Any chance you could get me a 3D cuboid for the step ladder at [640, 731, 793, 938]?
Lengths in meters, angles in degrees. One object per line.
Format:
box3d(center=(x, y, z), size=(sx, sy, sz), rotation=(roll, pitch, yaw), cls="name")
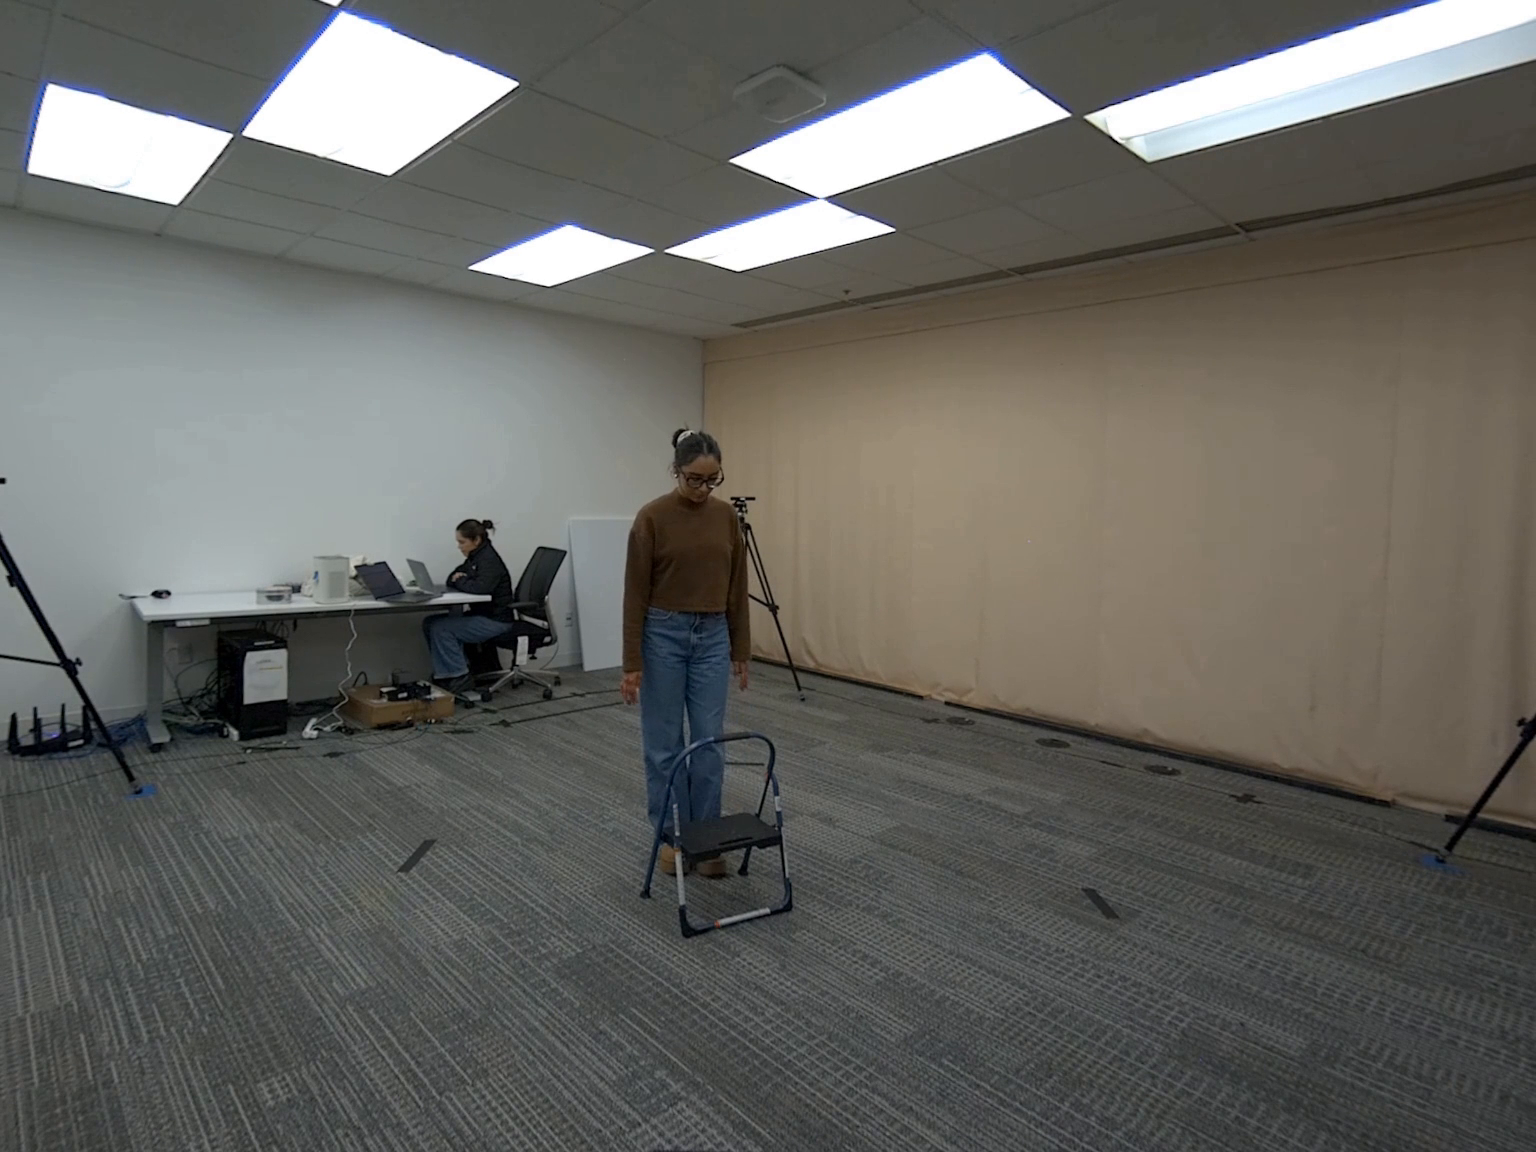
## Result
box3d(center=(-0.176, 0.824, 2.883), size=(0.422, 0.605, 0.357), rotation=(-1, 4, -32), cls="step ladder")
